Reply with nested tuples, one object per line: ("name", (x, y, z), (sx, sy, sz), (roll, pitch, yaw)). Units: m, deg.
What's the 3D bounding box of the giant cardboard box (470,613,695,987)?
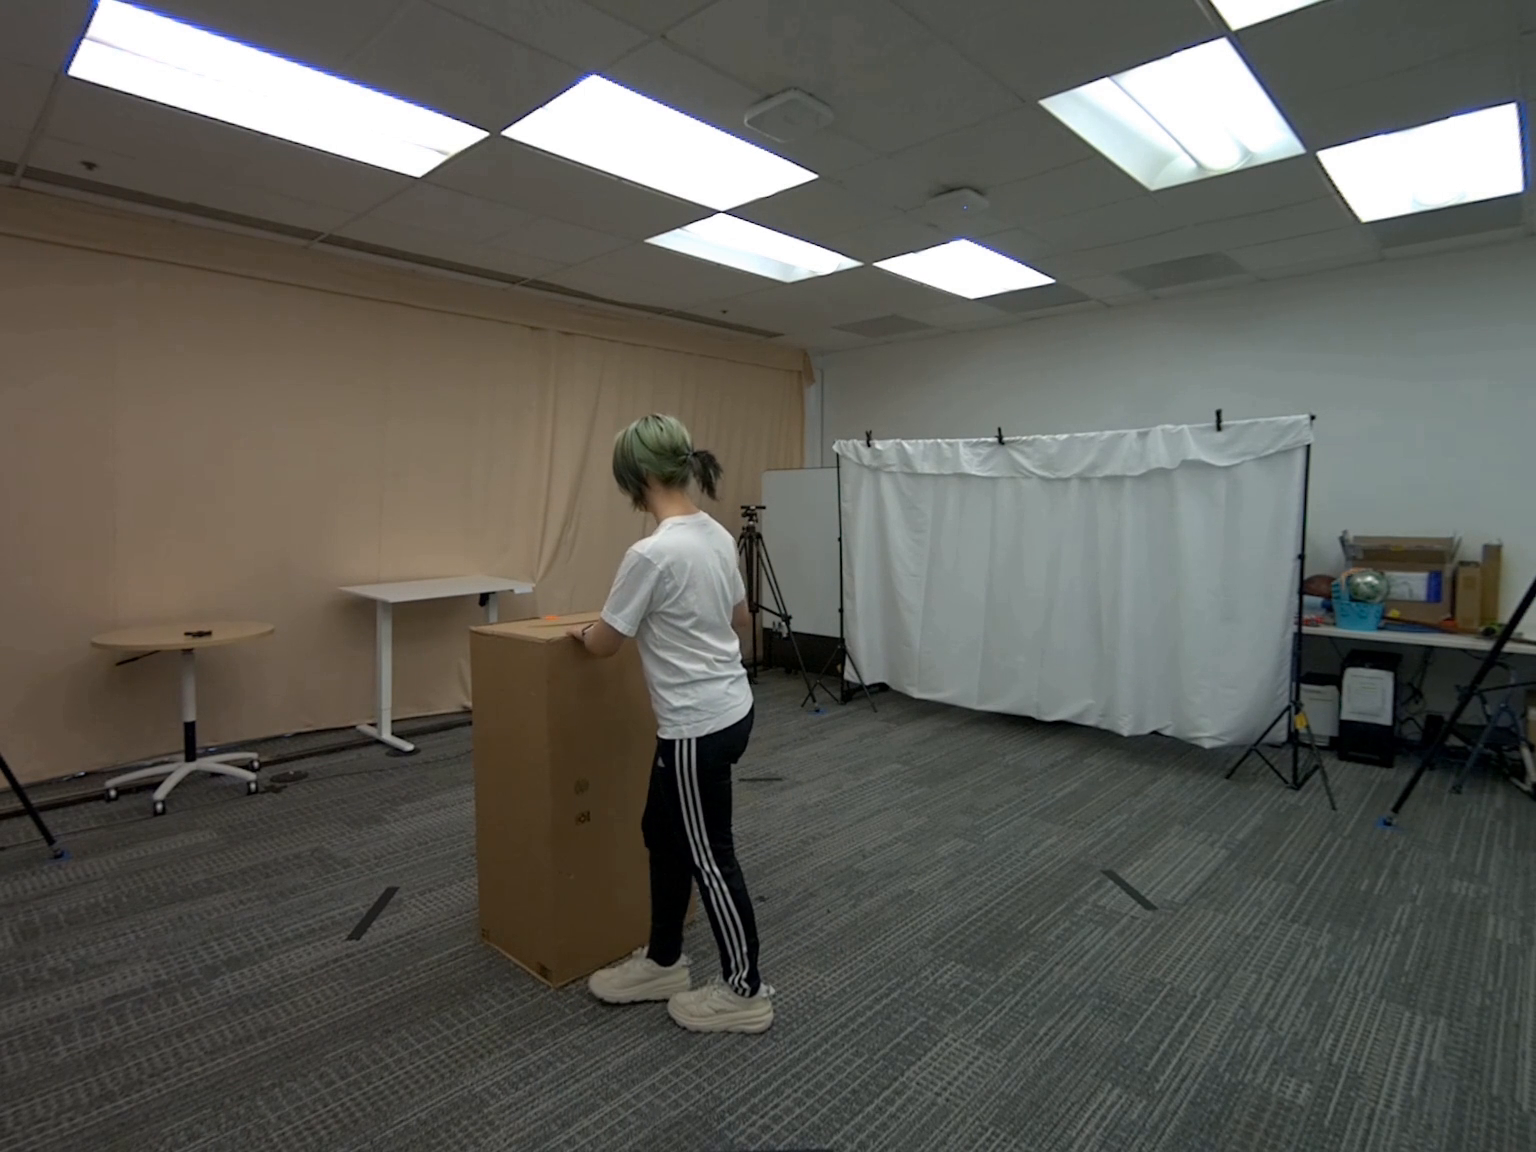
("giant cardboard box", (-0.597, 0.661, 2.750), (0.462, 1.024, 0.566), (3, 5, 42))
